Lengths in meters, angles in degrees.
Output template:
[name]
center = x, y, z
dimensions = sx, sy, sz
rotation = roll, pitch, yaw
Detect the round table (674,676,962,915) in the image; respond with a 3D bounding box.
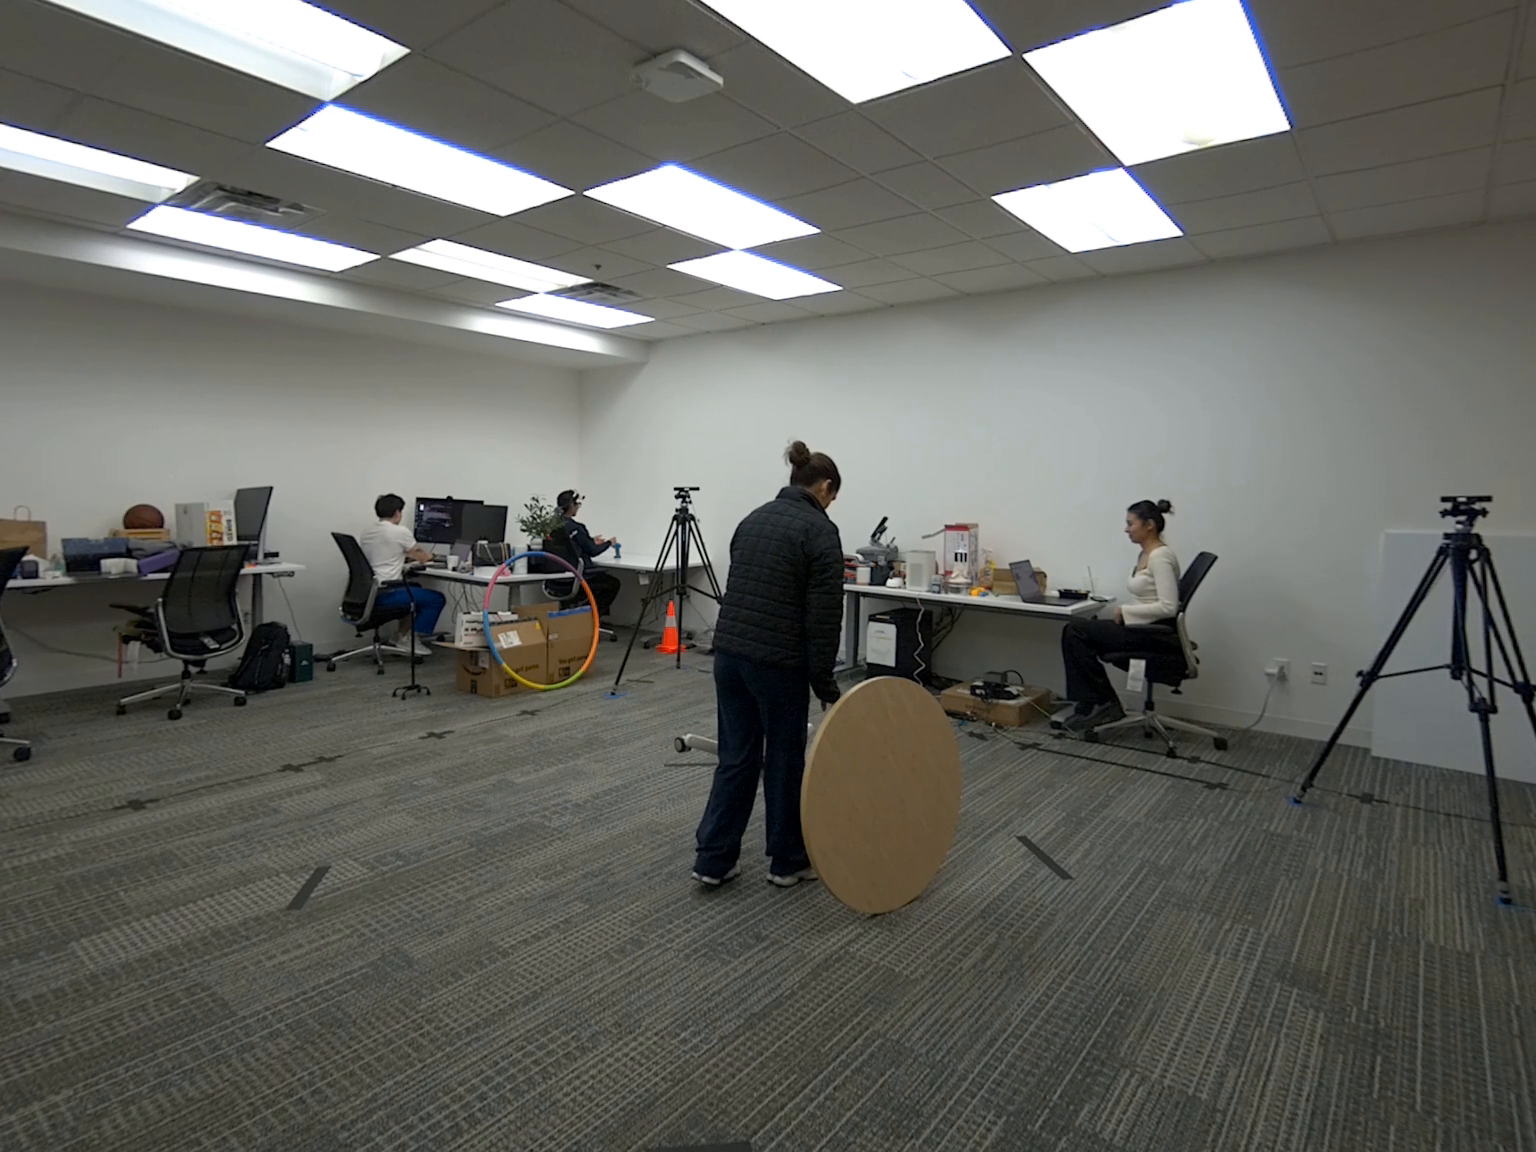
[round table]
center = 0.161, 0.728, 3.166
dimensions = 0.762, 0.787, 0.809
rotation = -2, -1, -39
